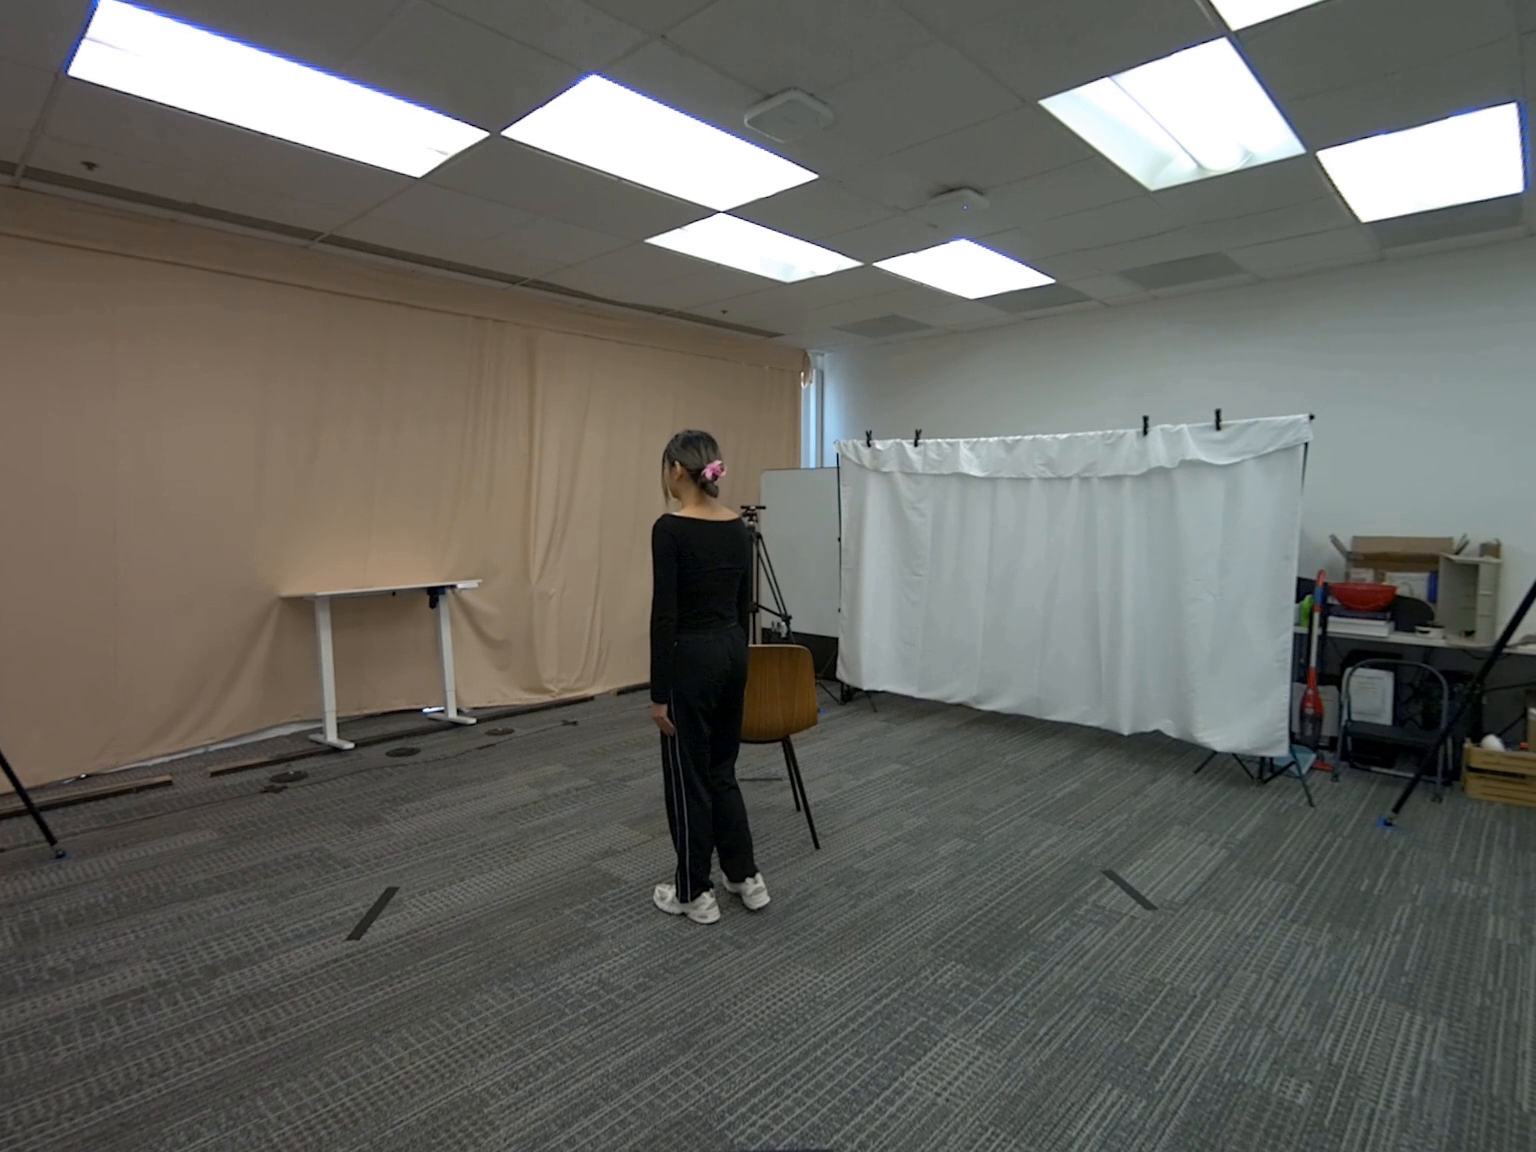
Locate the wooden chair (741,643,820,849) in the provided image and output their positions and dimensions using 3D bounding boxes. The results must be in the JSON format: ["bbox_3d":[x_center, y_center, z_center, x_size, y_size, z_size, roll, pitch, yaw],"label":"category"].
[{"bbox_3d":[-0.046,0.668,3.595,0.475,0.874,0.528,-1,6,-6],"label":"wooden chair"}]
